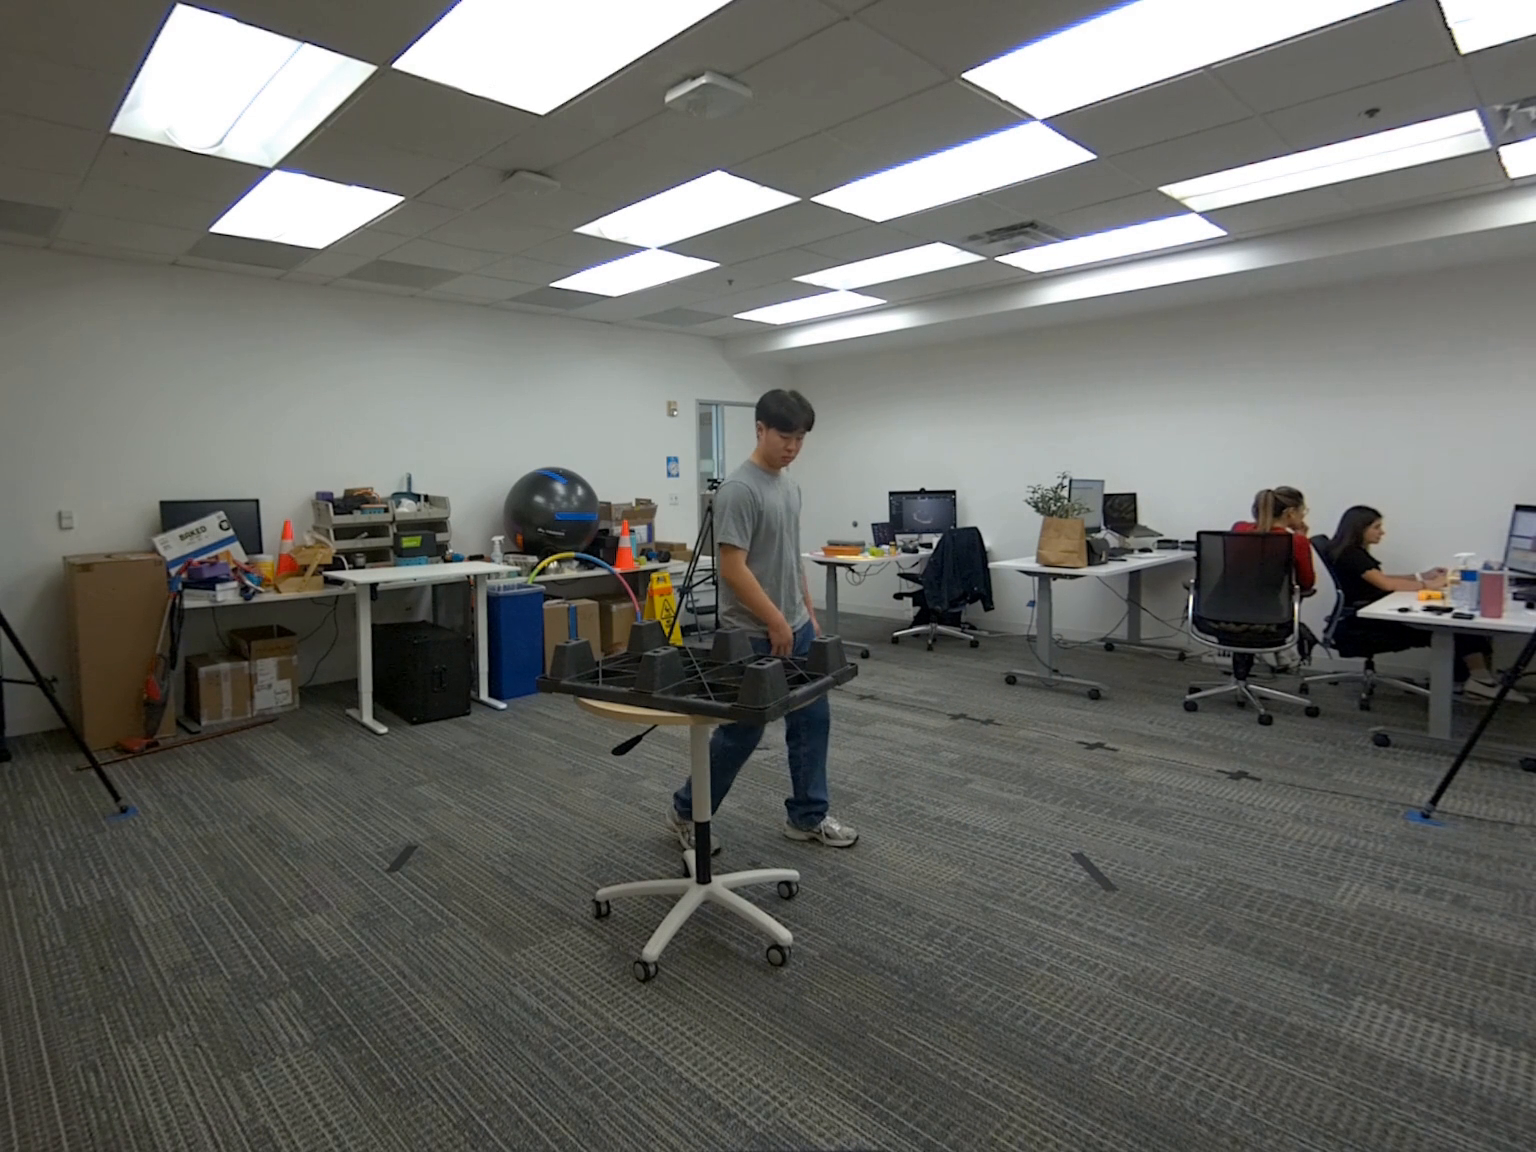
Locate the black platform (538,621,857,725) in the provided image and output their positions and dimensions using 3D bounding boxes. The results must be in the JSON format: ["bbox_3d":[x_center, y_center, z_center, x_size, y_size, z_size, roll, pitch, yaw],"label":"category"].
[{"bbox_3d":[-0.203,0.263,2.591,0.827,0.142,0.592,2,9,32],"label":"black platform"}]
